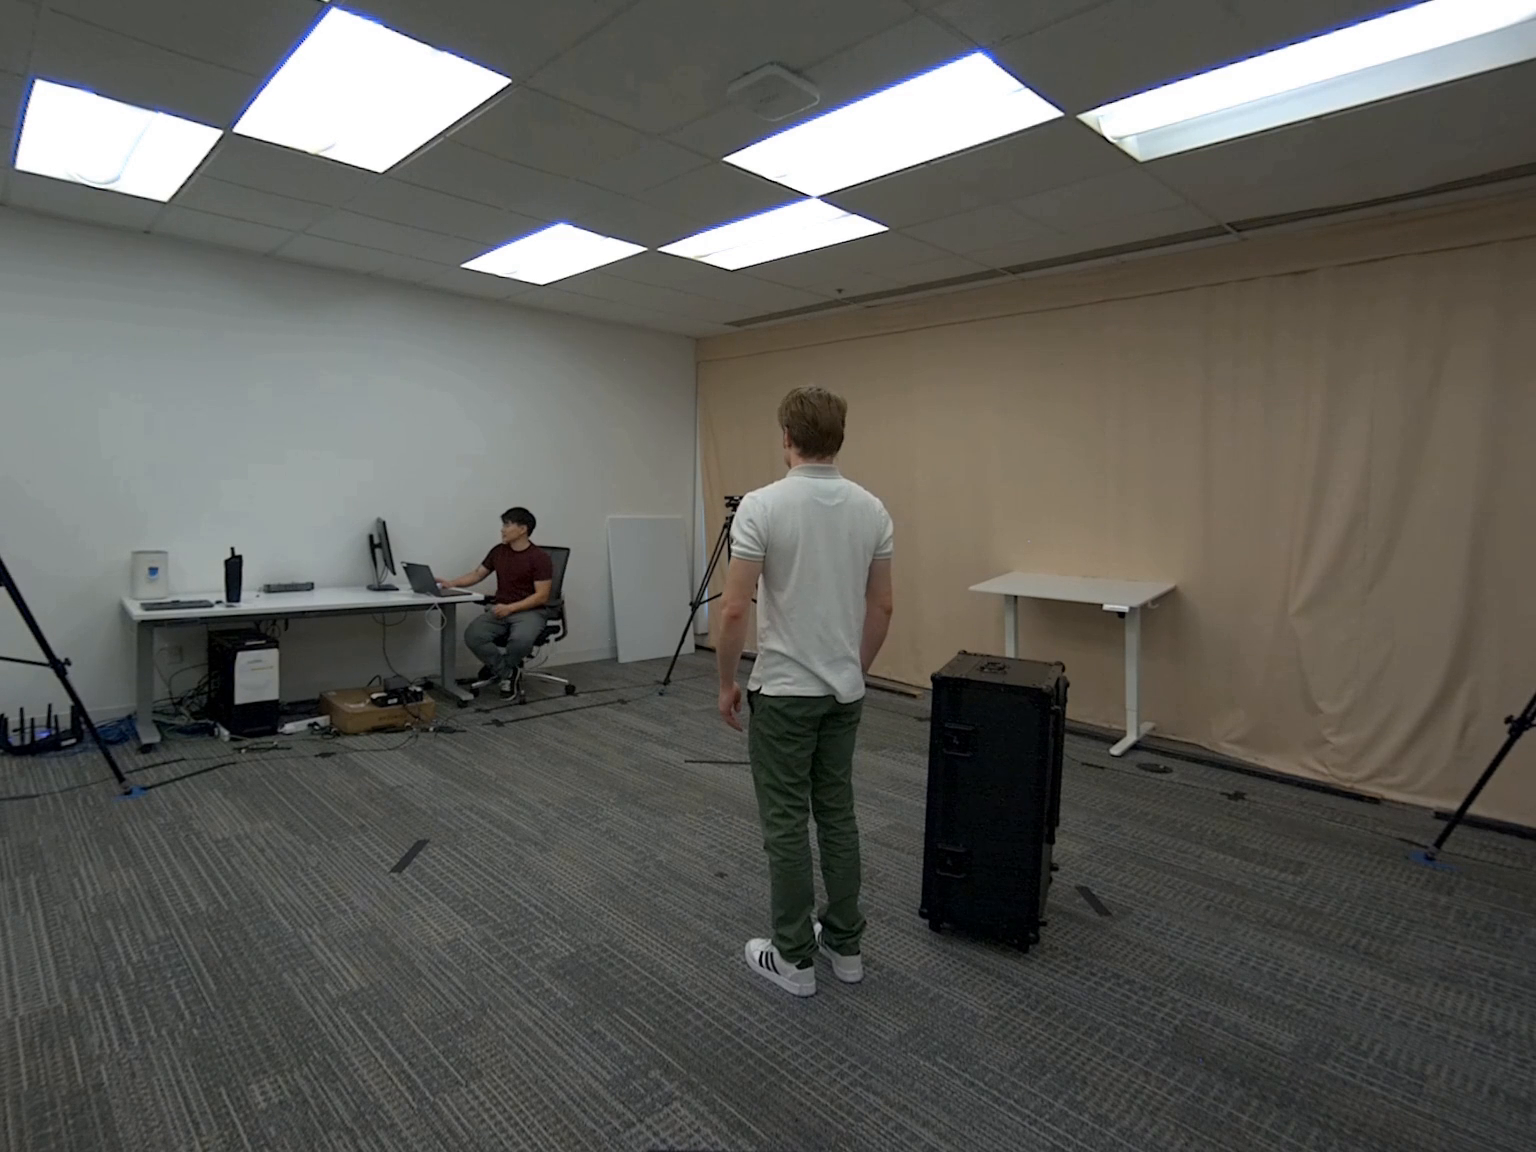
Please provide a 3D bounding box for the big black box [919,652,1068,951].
[{"bbox_3d":[0.753,0.729,2.802,0.392,0.866,0.515,3,4,24],"label":"big black box"}]
